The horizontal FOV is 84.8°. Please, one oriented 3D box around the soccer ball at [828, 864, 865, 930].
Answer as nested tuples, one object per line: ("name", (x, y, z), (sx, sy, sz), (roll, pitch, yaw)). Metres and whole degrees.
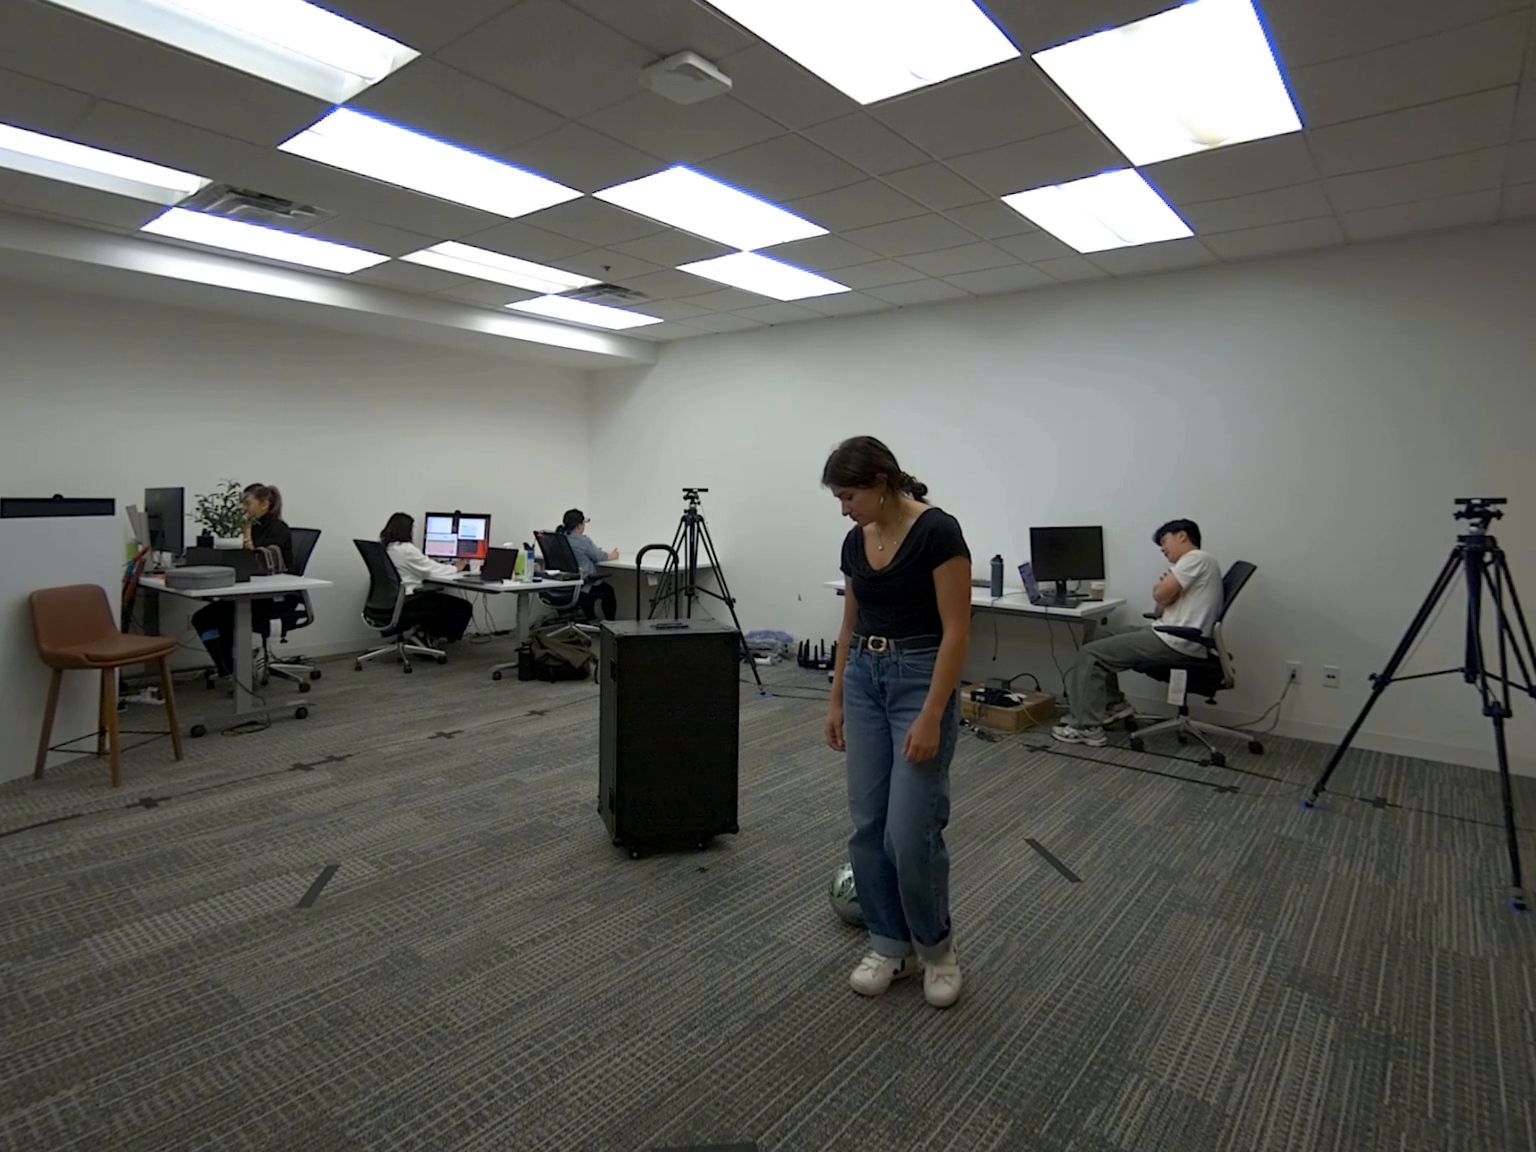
("soccer ball", (0.293, 1.017, 2.753), (0.187, 0.187, 0.188), (1, 4, -2))
